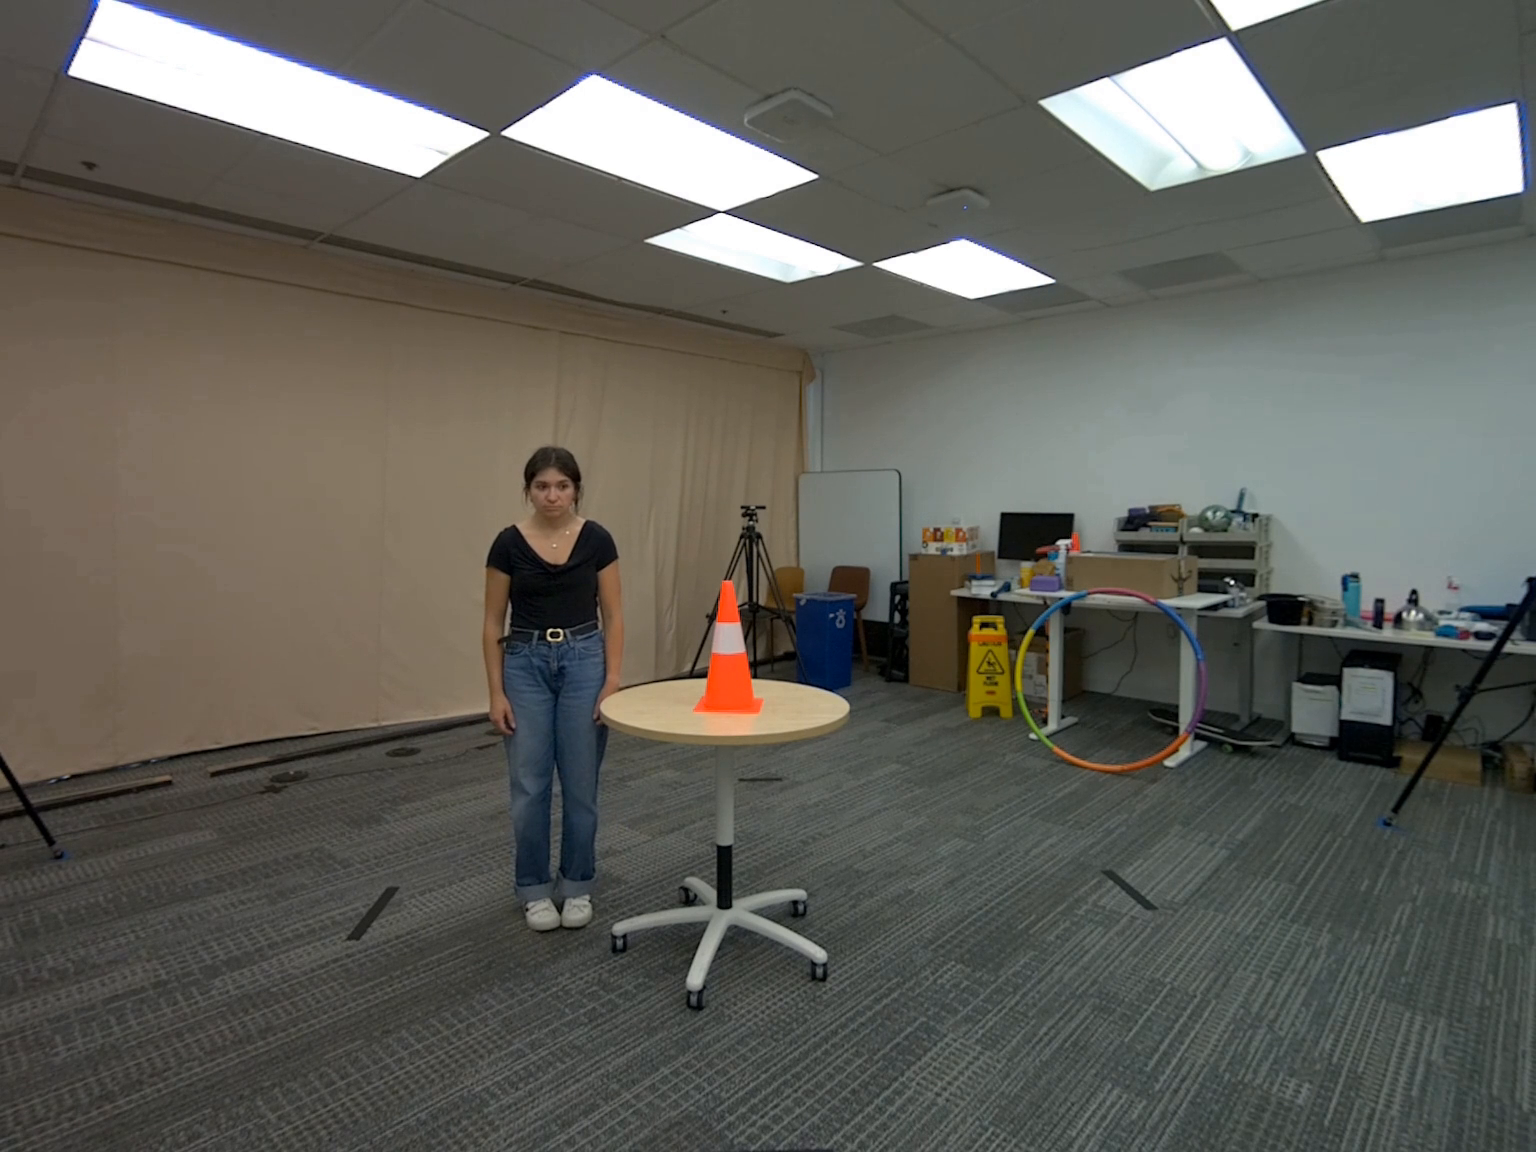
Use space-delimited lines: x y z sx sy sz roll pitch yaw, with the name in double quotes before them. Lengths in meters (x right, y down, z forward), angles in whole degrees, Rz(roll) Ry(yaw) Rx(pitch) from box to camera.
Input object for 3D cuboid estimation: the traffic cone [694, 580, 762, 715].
"traffic cone" -0.116 0.212 2.560 0.205 0.383 0.203 0 3 1
